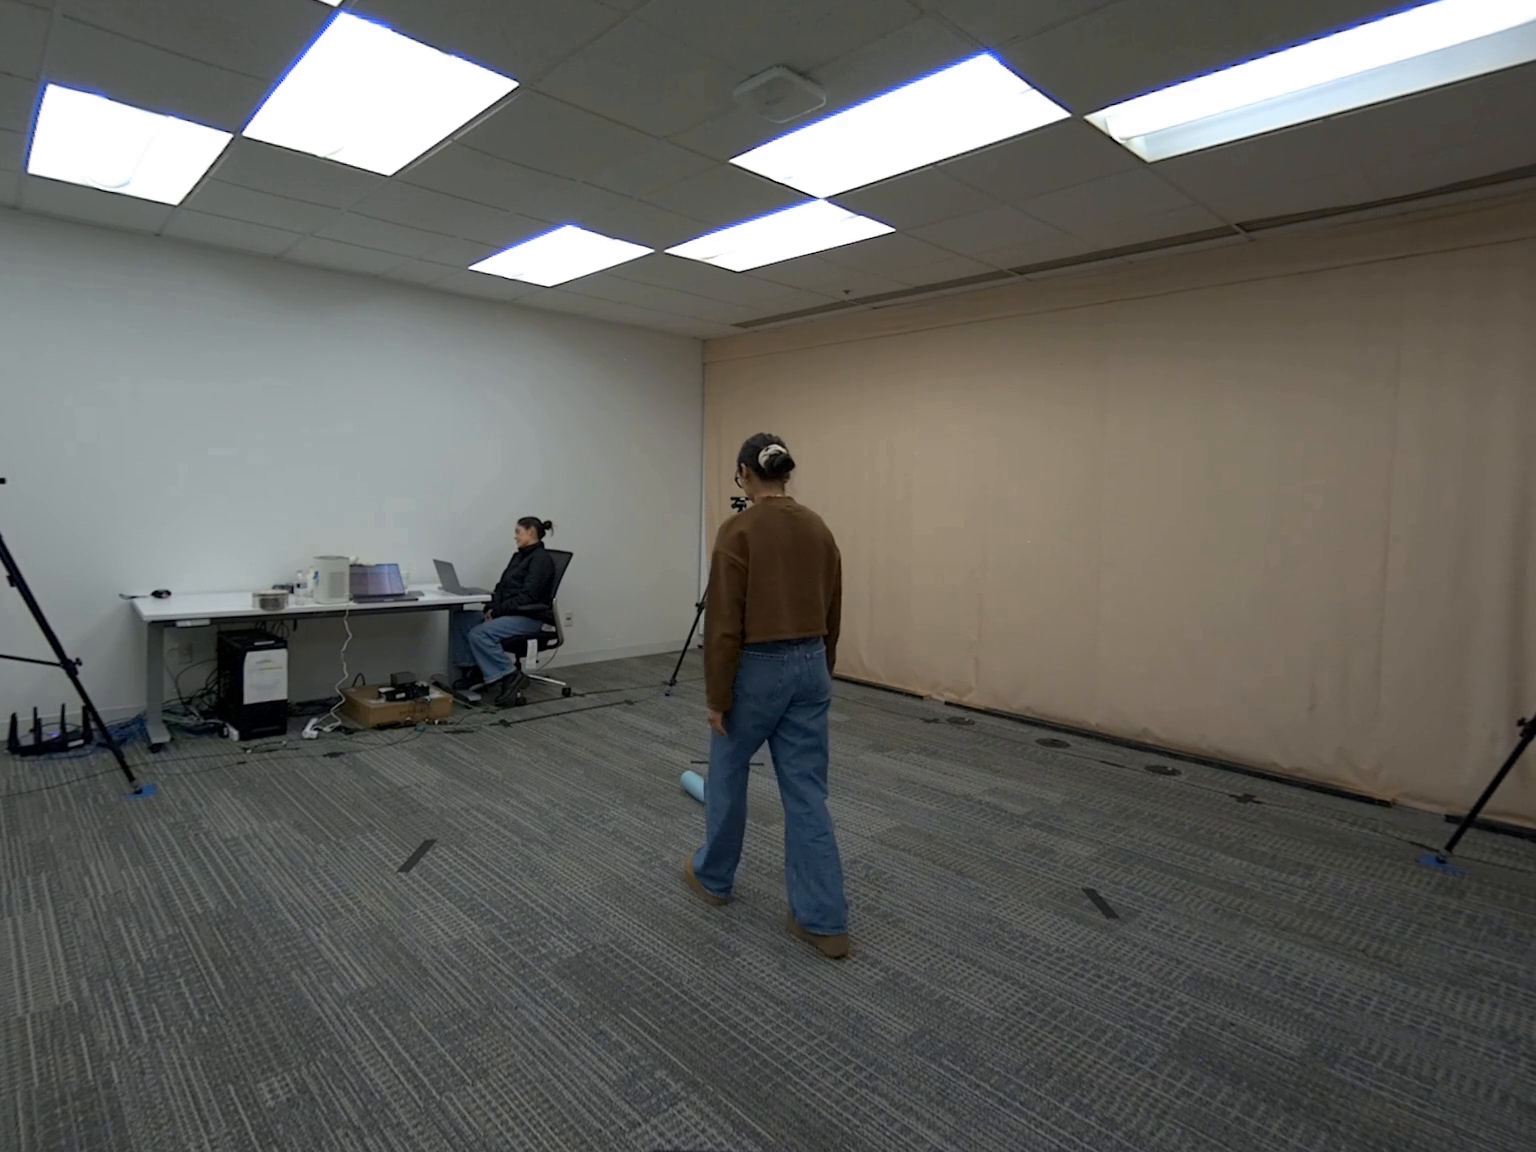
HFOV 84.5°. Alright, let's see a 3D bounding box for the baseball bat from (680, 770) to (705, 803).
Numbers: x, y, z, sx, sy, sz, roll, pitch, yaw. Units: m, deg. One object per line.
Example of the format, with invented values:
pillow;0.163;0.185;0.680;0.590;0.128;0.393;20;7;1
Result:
baseball bat;-0.258;1.015;3.790;0.087;0.088;0.556;-1;9;-29
